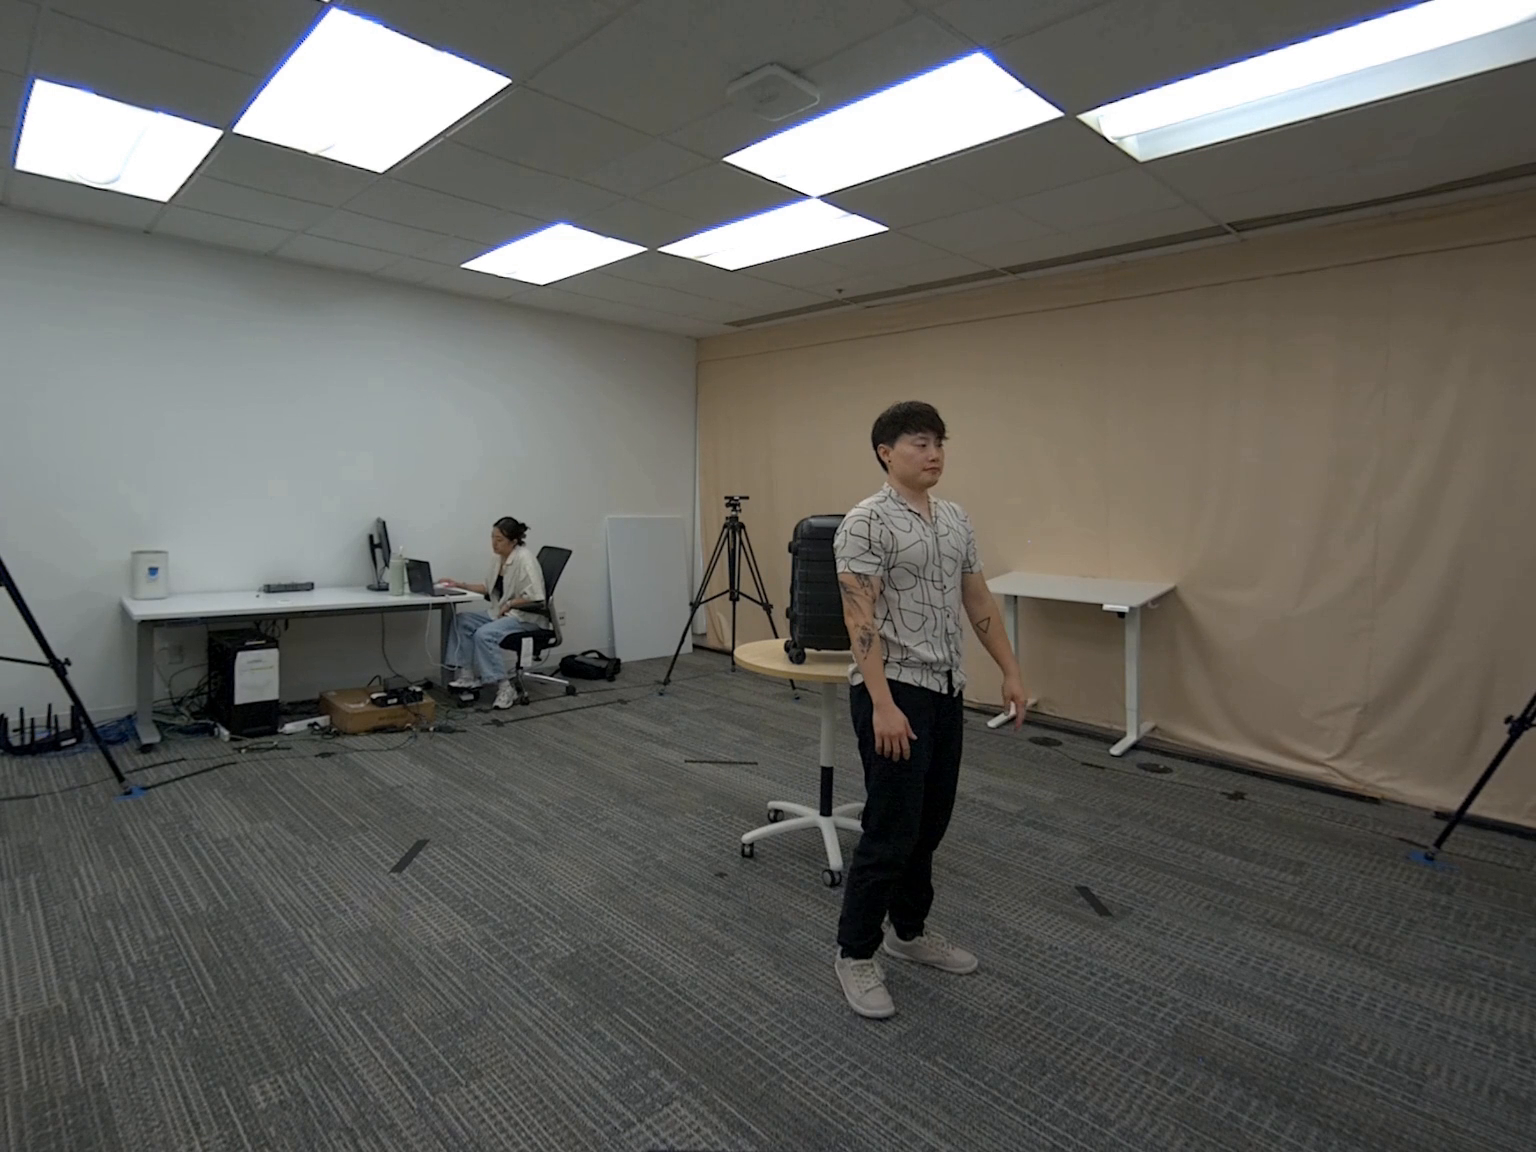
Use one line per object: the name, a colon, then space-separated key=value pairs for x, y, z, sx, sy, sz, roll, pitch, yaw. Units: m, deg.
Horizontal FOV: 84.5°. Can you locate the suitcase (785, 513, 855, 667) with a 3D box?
suitcase: x=0.275 y=0.045 z=3.215 sx=0.375 sy=0.548 sz=0.249 roll=3 pitch=2 yaw=-1
